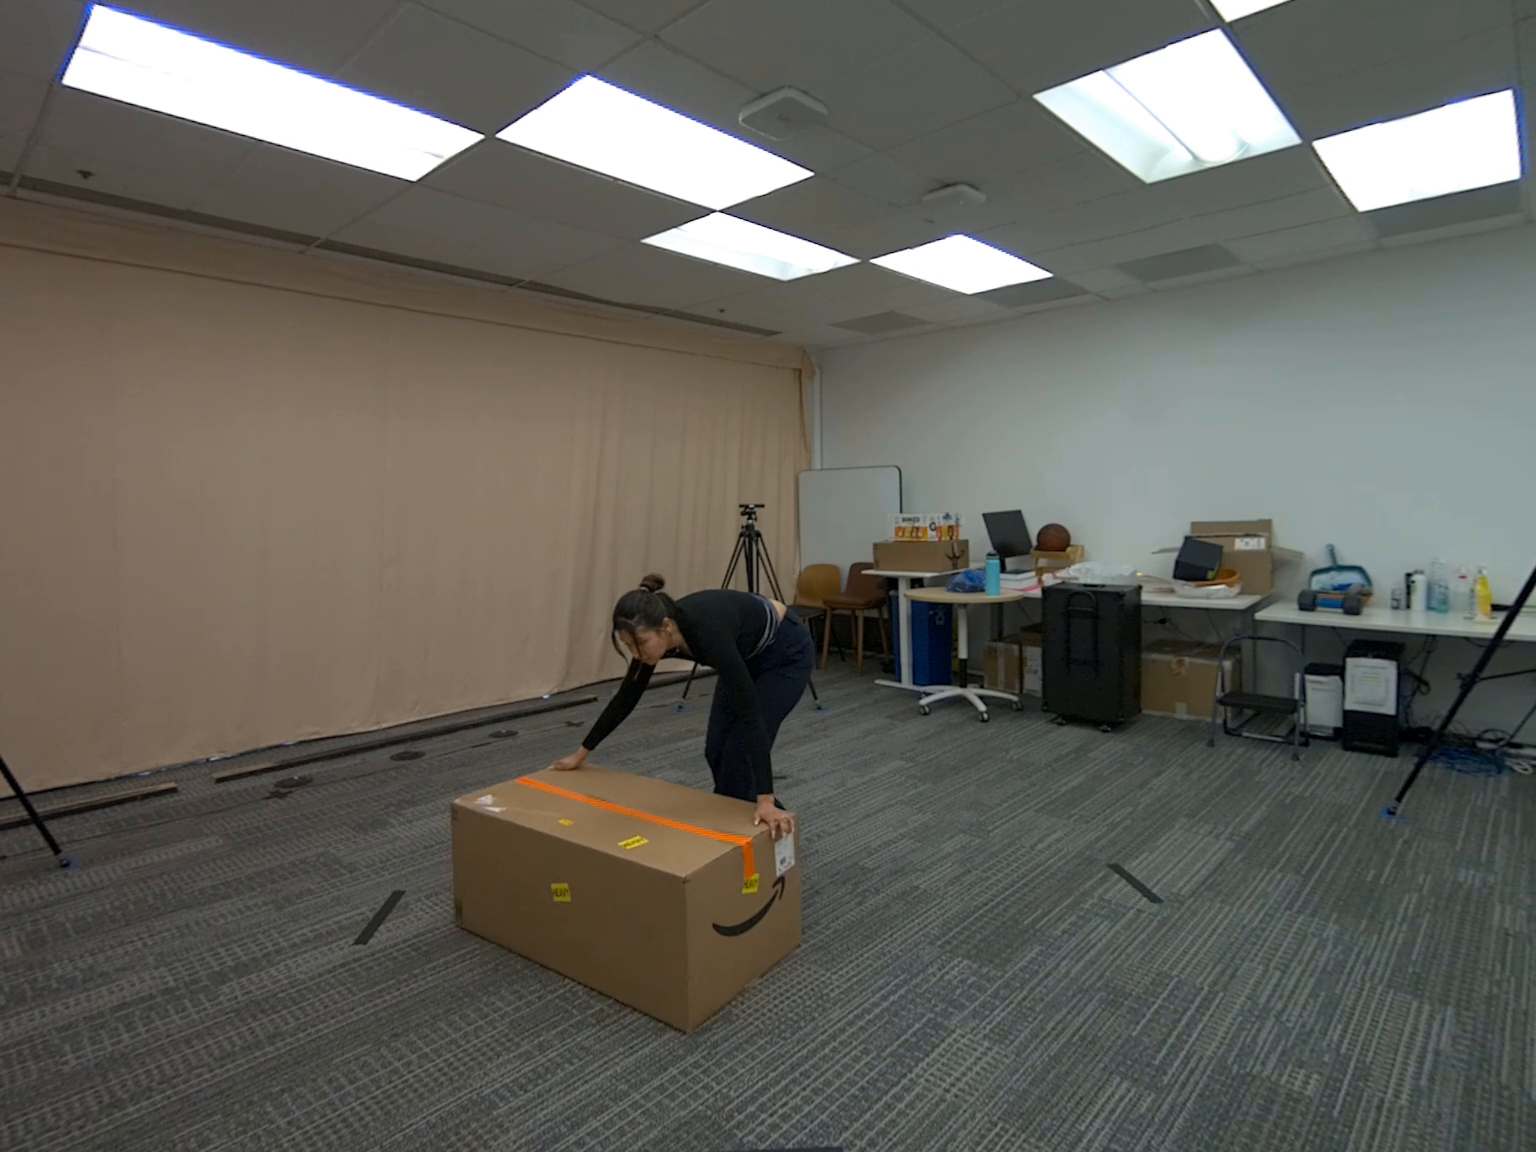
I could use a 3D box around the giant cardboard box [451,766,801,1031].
[{"bbox_3d":[-0.478,0.957,2.734,1.058,0.425,0.561,2,4,36],"label":"giant cardboard box"}]
